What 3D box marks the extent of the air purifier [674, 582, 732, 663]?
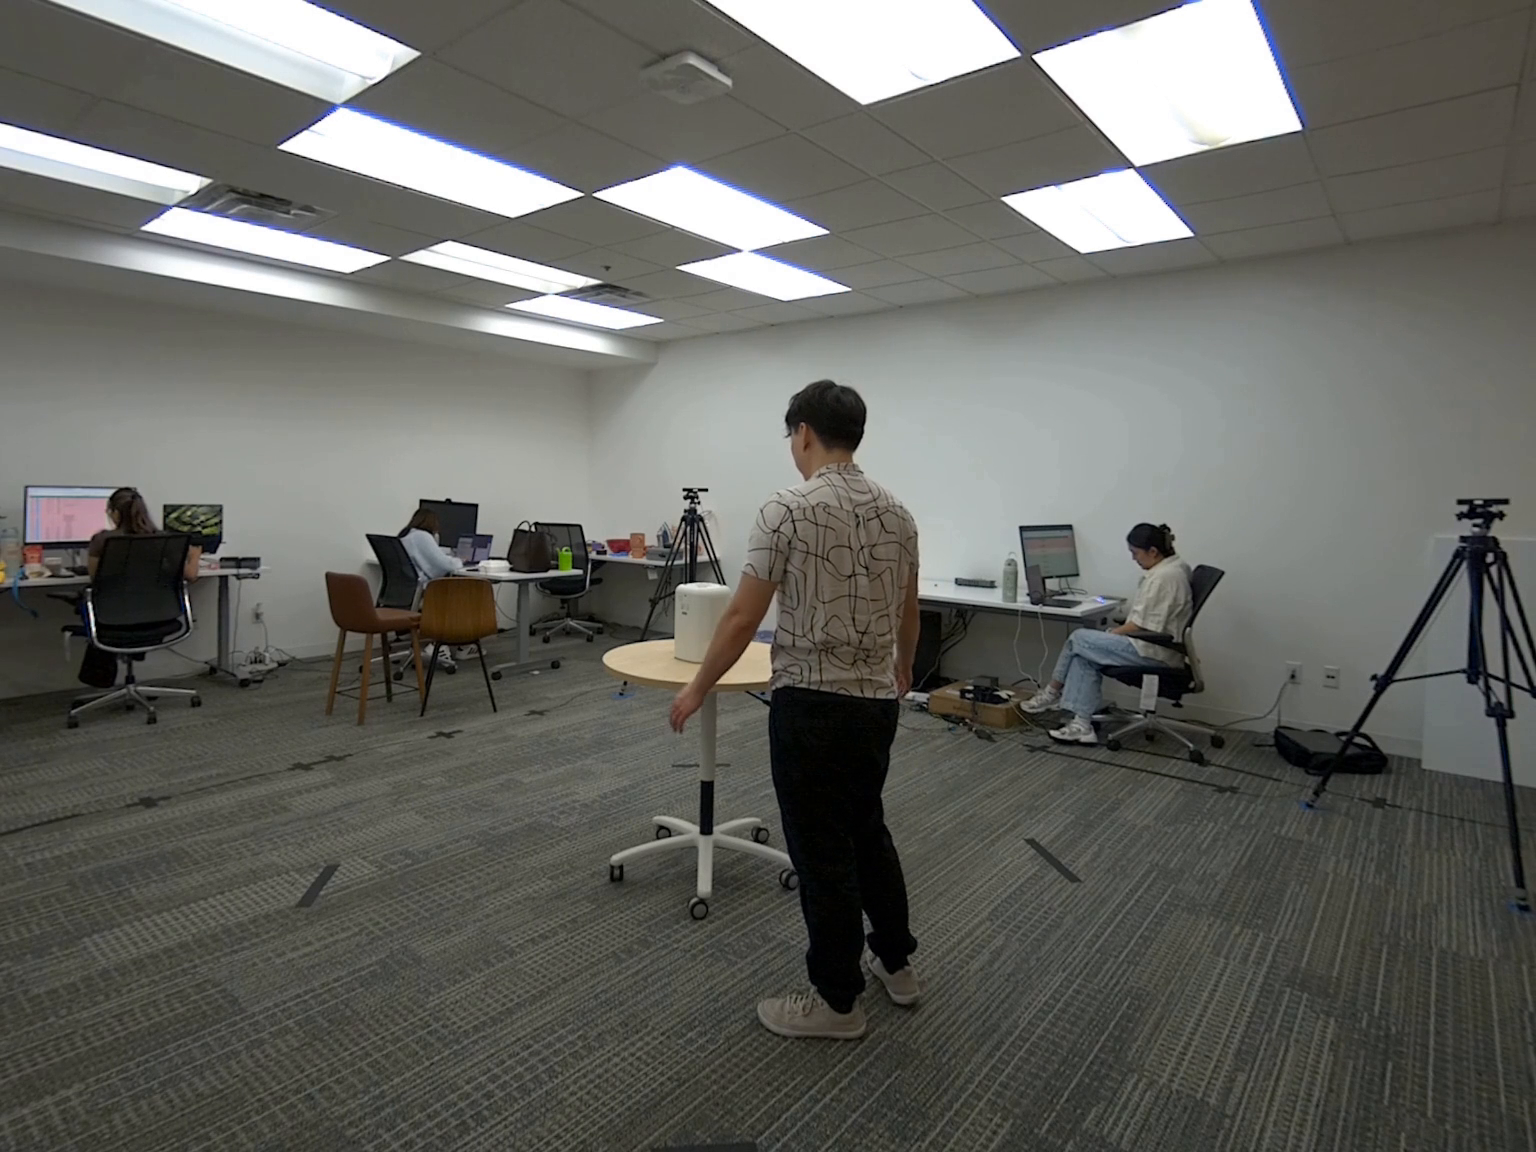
[{"bbox_3d":[-0.250,0.159,3.056,0.166,0.265,0.177,-2,4,-44],"label":"air purifier"}]
